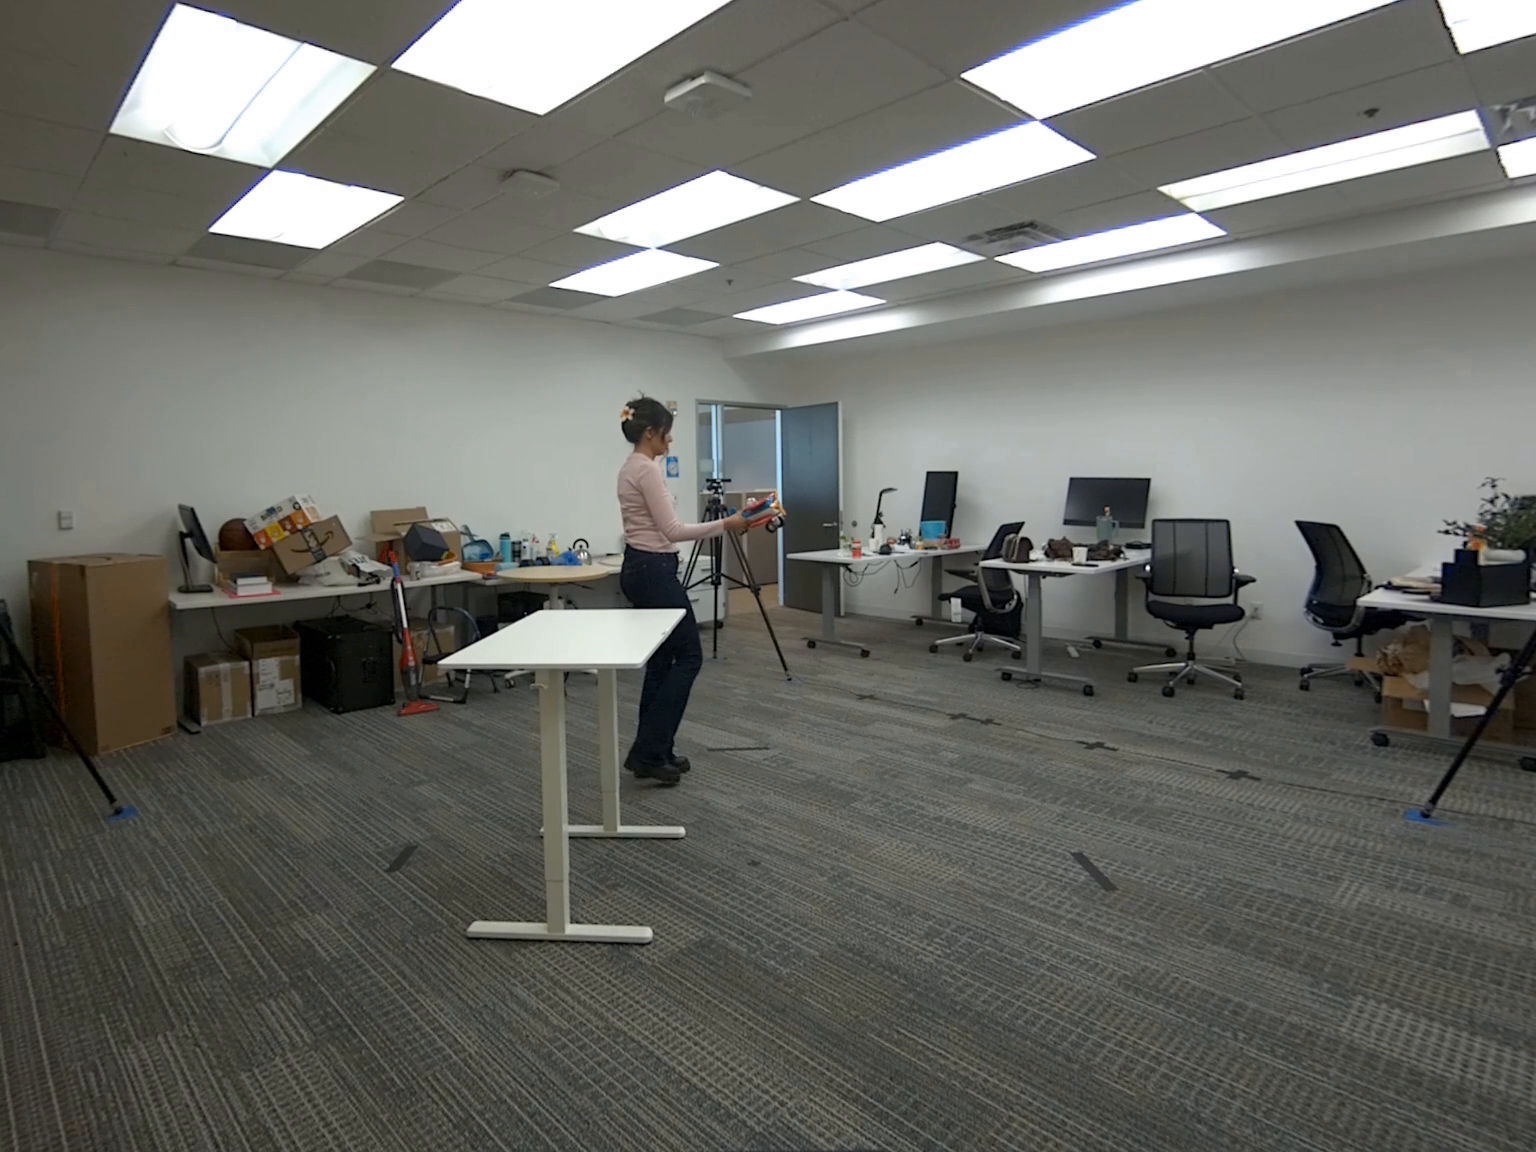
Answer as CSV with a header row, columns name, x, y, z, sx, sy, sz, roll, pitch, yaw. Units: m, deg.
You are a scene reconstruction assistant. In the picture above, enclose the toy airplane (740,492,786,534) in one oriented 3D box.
name,x,y,z,sx,sy,sz,roll,pitch,yaw
toy airplane,-0.058,-0.269,3.879,0.260,0.154,0.254,-12,15,4
